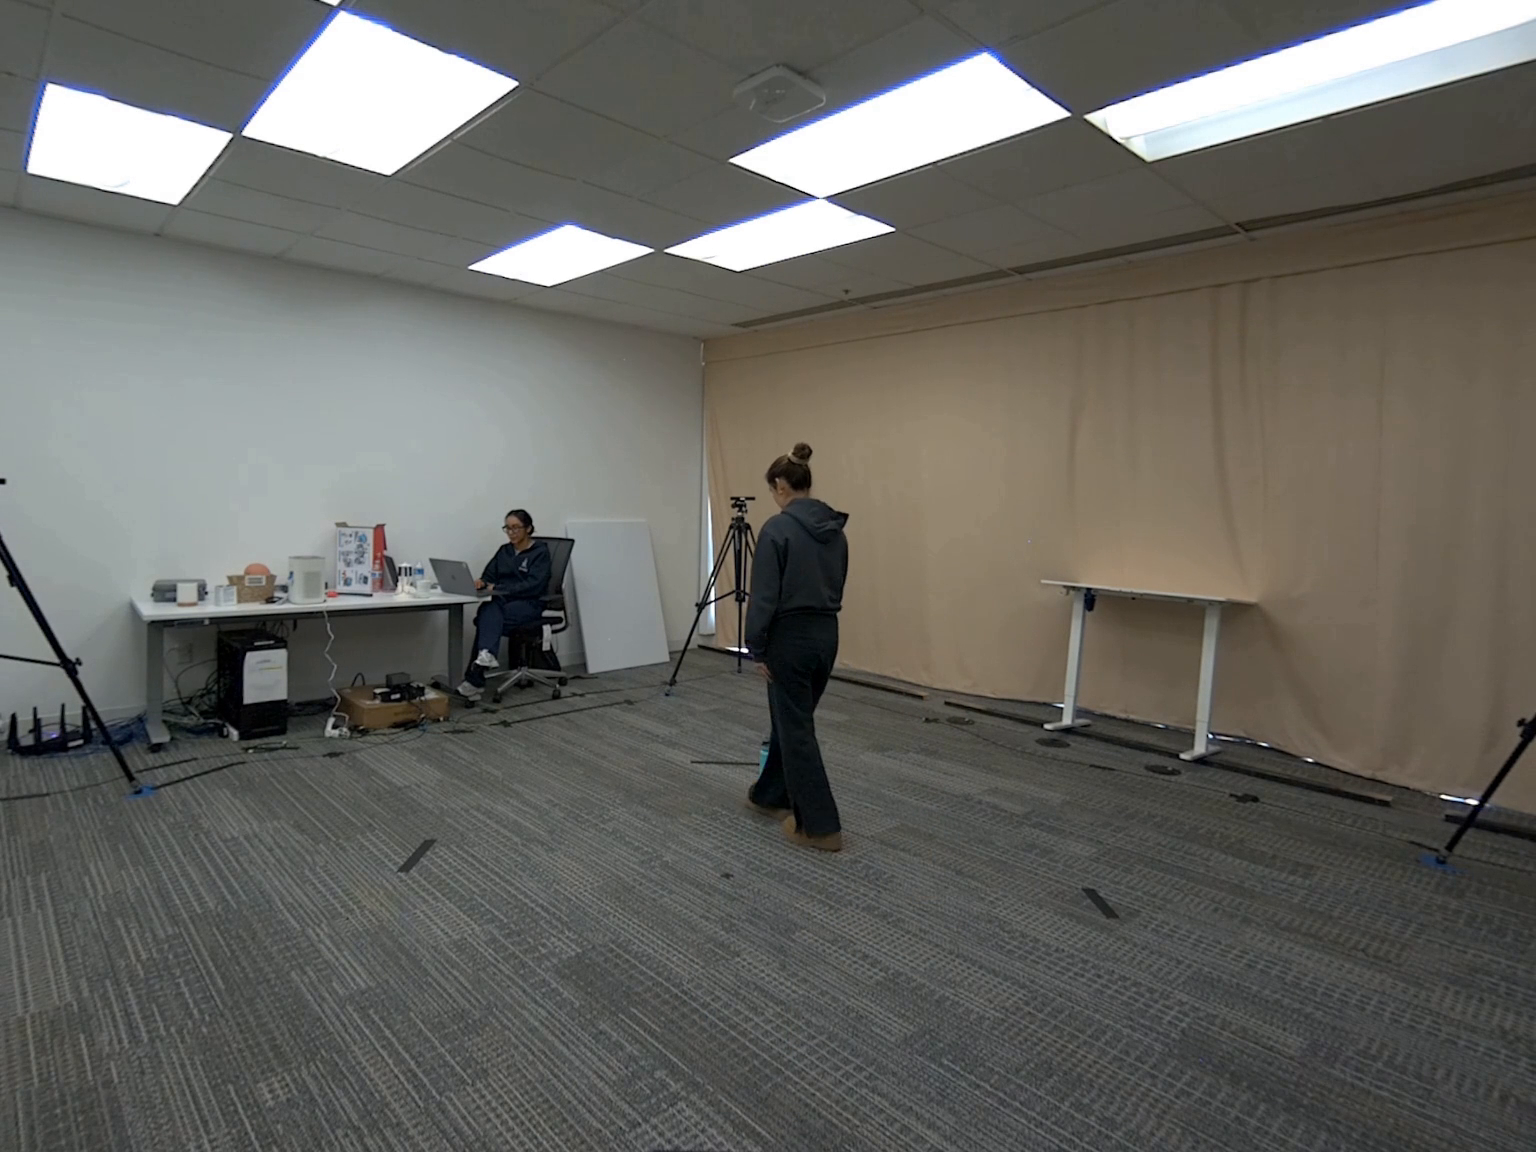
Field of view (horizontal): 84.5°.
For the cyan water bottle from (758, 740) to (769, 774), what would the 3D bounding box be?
[{"bbox_3d":[-0.006,0.896,3.952,0.092,0.283,0.092,3,4,-2],"label":"cyan water bottle"}]
